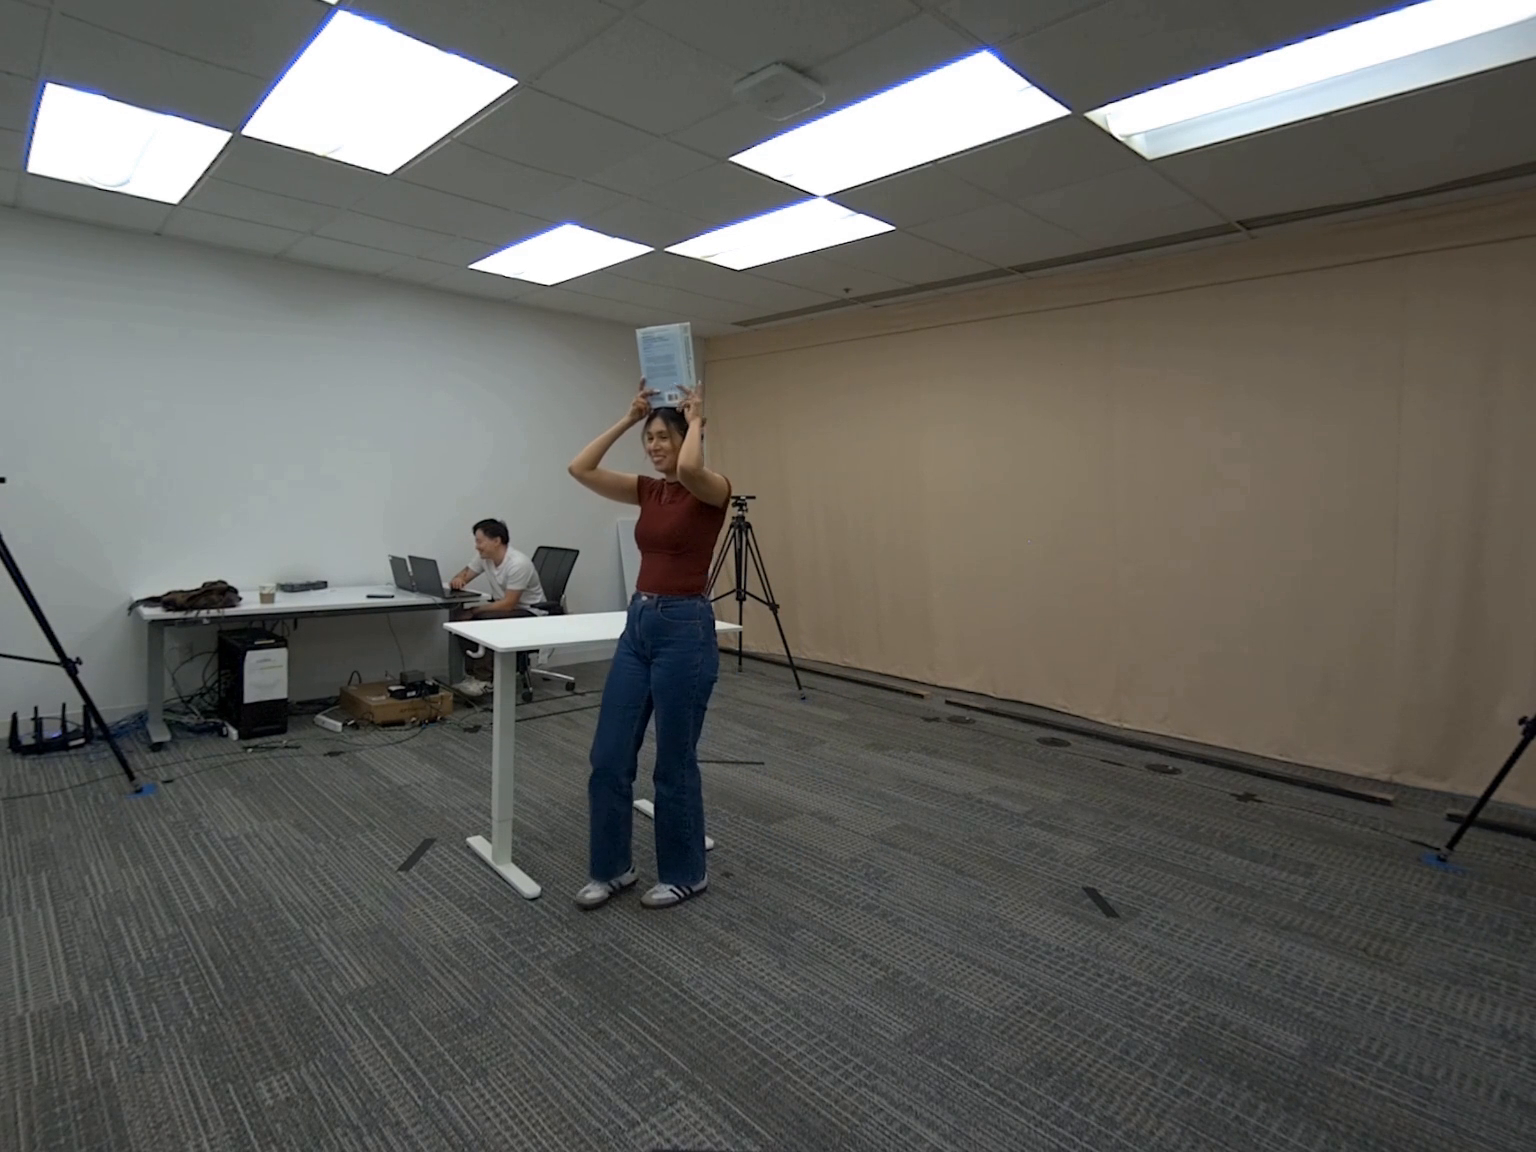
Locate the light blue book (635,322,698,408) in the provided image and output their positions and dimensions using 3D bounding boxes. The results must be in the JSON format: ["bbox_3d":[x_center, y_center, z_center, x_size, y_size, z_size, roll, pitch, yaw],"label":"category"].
[{"bbox_3d":[-0.340,-0.693,2.785,0.196,0.258,0.058,5,17,33],"label":"light blue book"}]
